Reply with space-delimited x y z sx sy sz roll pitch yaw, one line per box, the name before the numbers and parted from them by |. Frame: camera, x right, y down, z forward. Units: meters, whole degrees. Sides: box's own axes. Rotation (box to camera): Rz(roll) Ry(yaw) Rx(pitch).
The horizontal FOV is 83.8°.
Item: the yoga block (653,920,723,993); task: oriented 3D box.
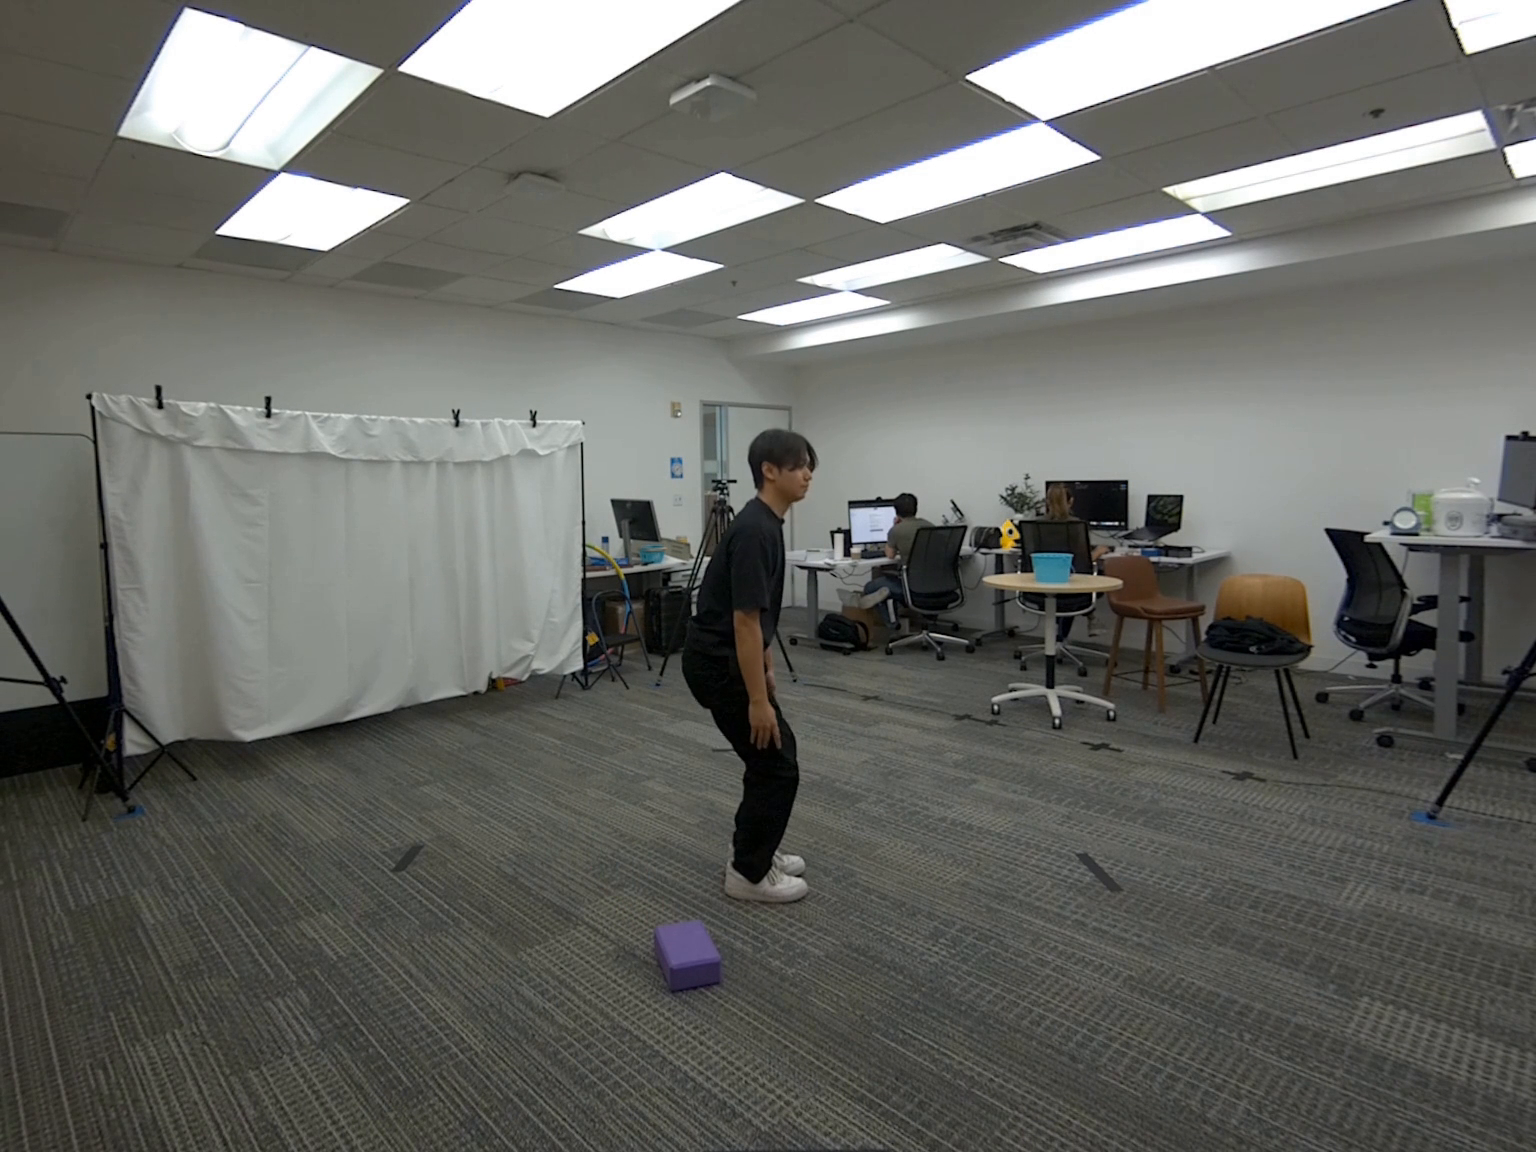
yoga block | -0.228 1.089 2.457 0.147 0.076 0.234 -3 6 -17
